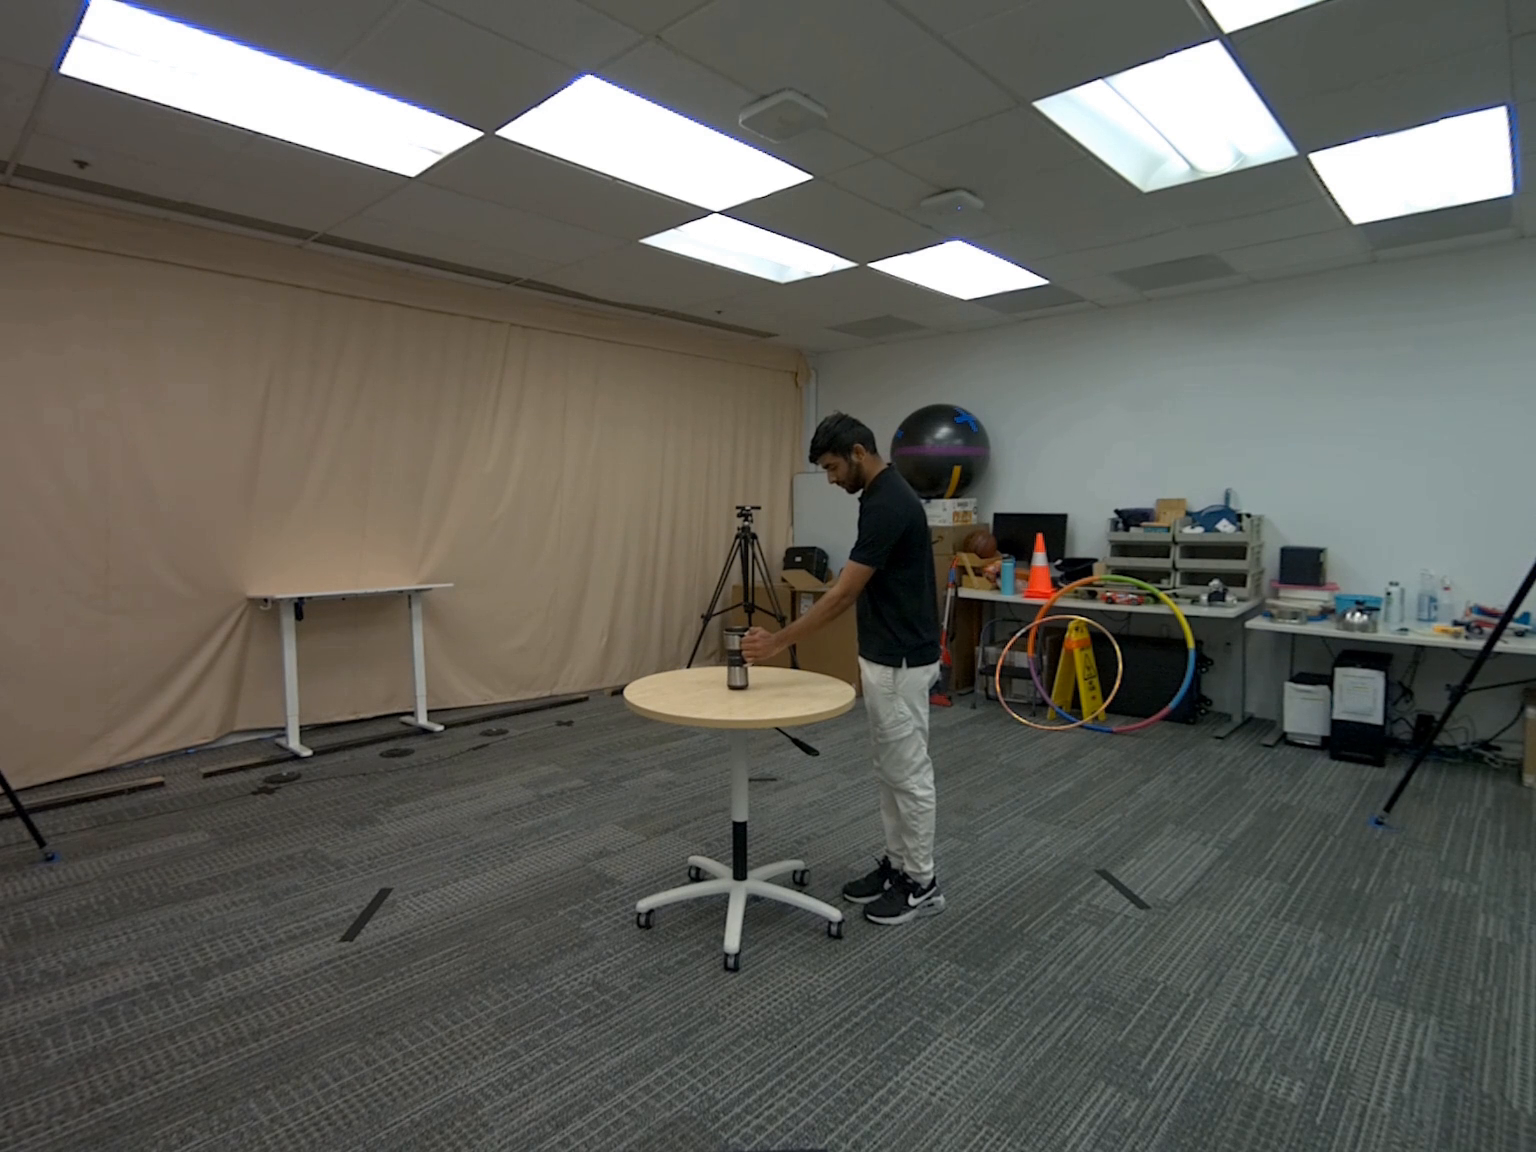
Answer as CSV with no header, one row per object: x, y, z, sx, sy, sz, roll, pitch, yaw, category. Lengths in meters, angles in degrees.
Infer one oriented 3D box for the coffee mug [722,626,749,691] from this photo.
-0.082,0.275,2.789,0.085,0.203,0.125,1,-5,-36,coffee mug
